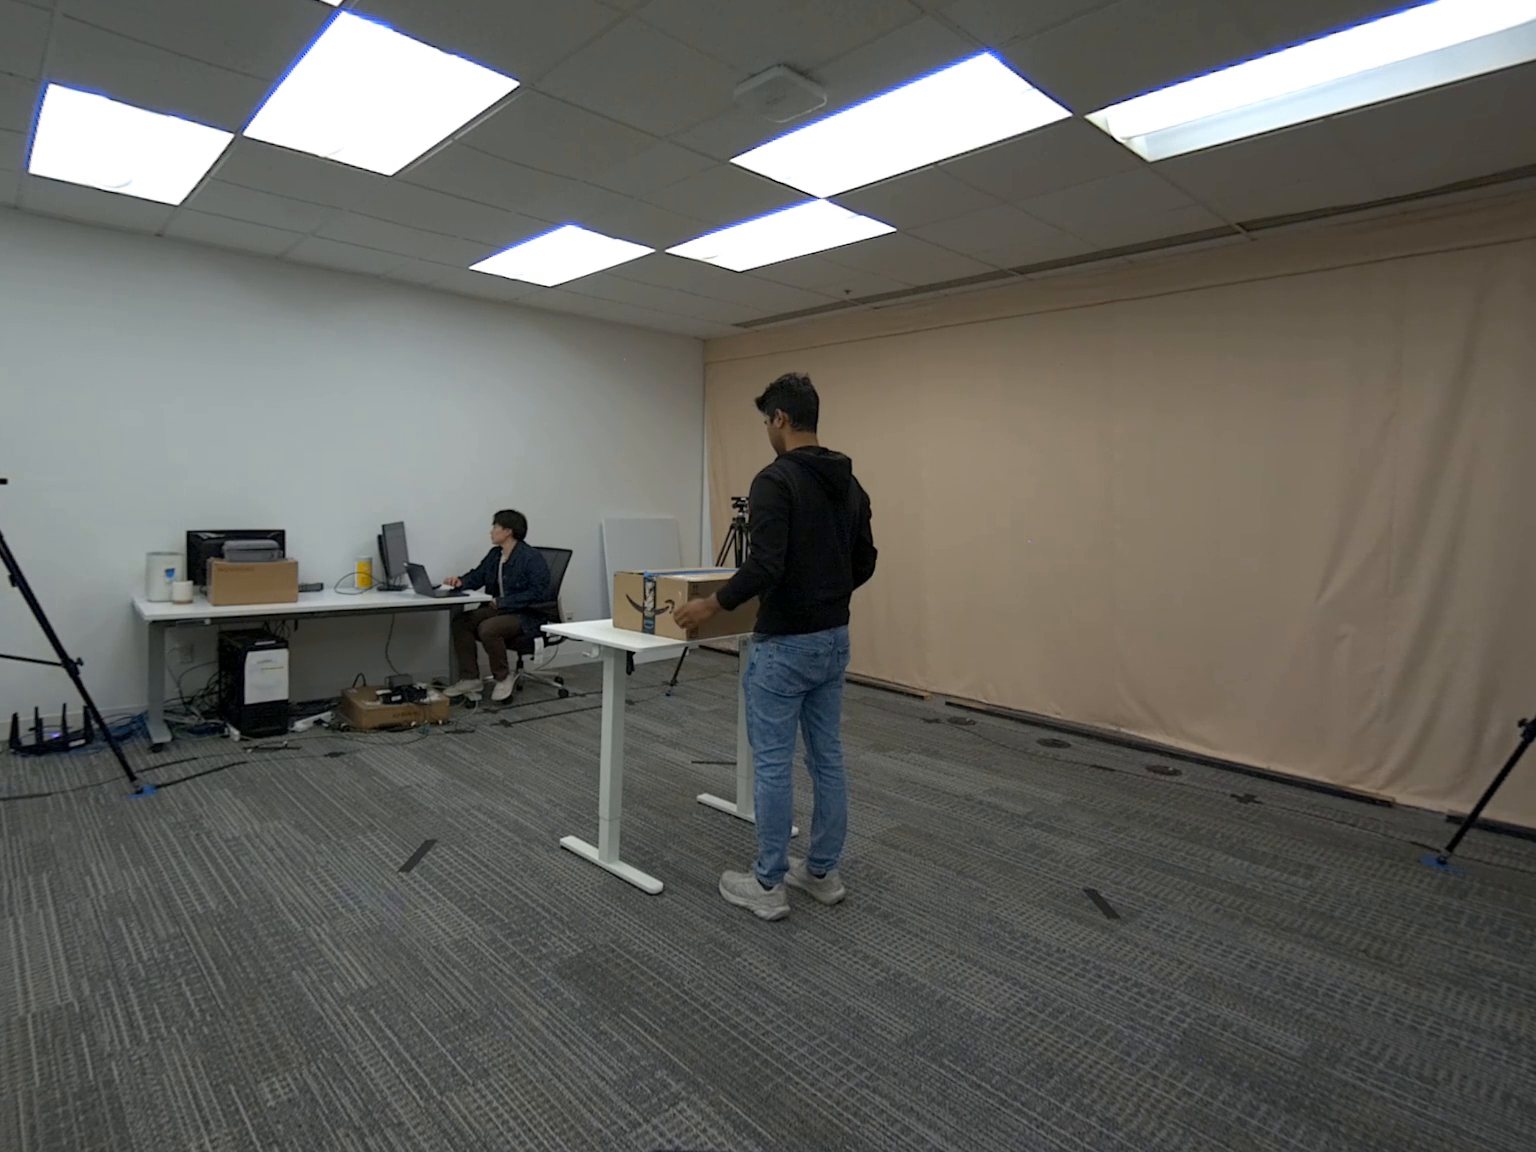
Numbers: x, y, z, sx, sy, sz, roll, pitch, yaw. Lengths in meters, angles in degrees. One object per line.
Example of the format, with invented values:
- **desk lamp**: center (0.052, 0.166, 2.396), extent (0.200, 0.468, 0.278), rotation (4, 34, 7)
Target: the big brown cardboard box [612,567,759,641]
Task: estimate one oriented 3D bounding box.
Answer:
- **big brown cardboard box**: center (-0.267, 0.092, 3.312), extent (0.428, 0.232, 0.575), rotation (6, 5, 41)
